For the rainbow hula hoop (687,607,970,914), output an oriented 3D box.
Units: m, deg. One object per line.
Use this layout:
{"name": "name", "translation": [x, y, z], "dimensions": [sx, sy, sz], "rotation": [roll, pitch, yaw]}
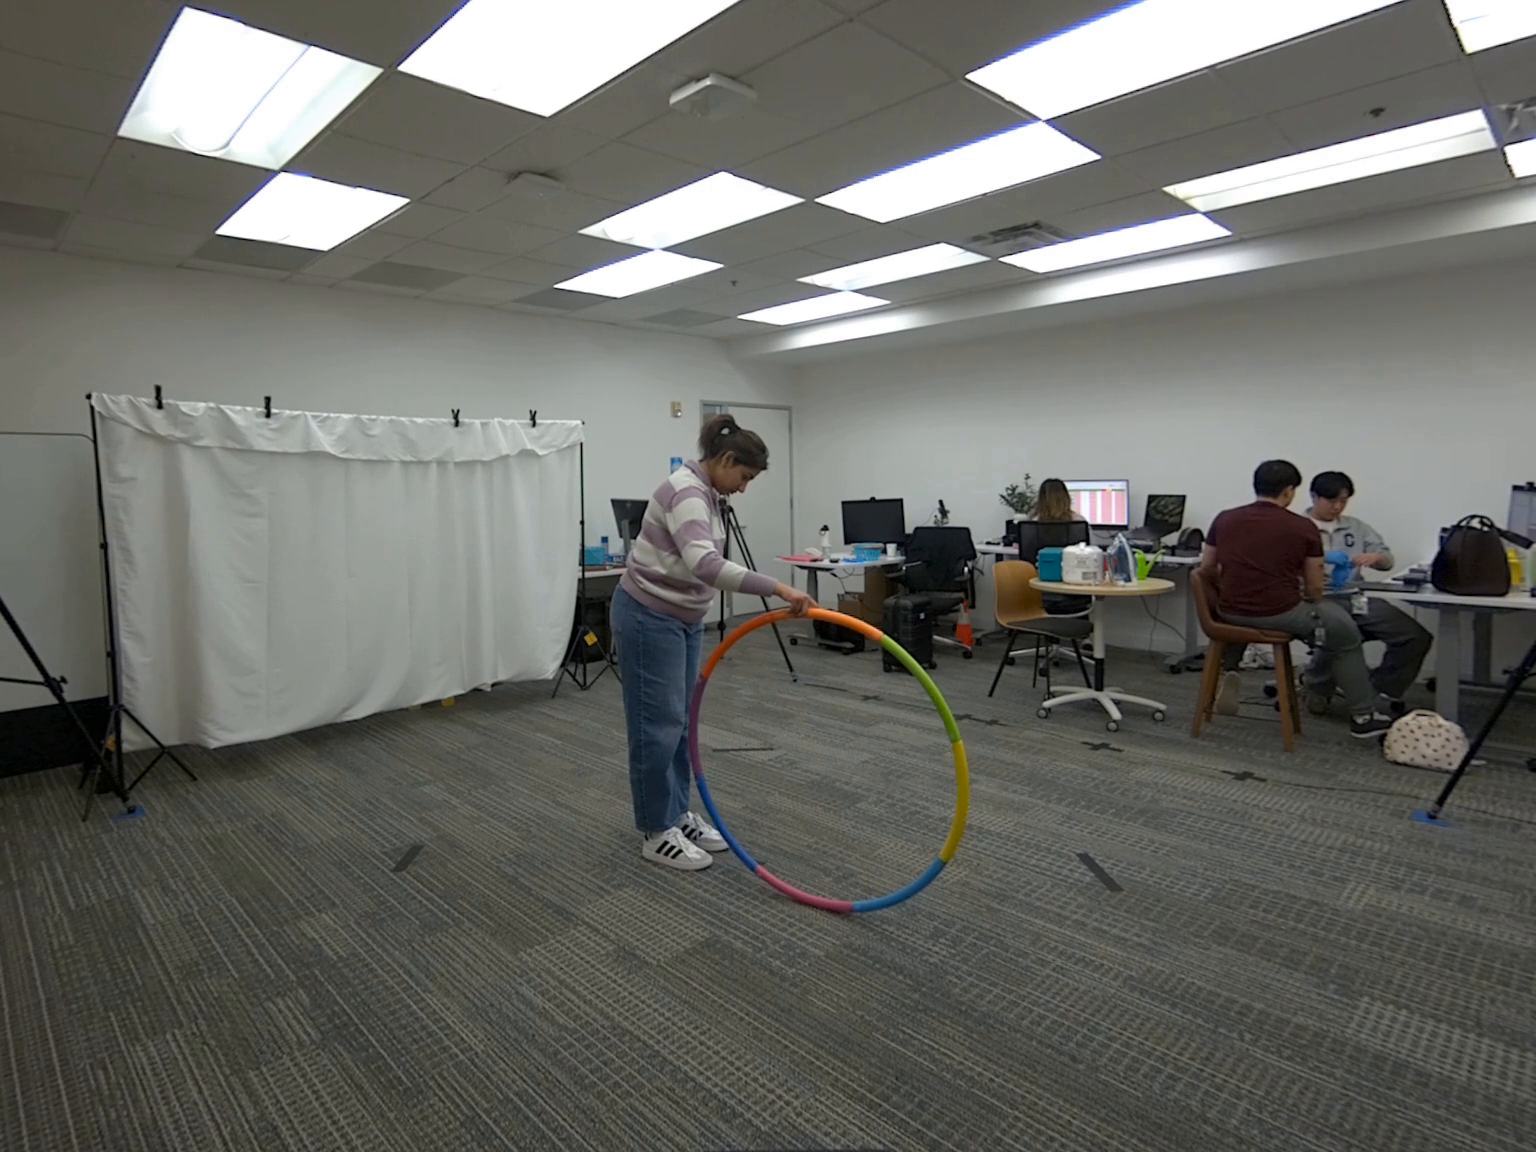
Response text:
{"name": "rainbow hula hoop", "translation": [0.156, 0.598, 2.760], "dimensions": [1.005, 0.975, 0.035], "rotation": [2, 5, 32]}
